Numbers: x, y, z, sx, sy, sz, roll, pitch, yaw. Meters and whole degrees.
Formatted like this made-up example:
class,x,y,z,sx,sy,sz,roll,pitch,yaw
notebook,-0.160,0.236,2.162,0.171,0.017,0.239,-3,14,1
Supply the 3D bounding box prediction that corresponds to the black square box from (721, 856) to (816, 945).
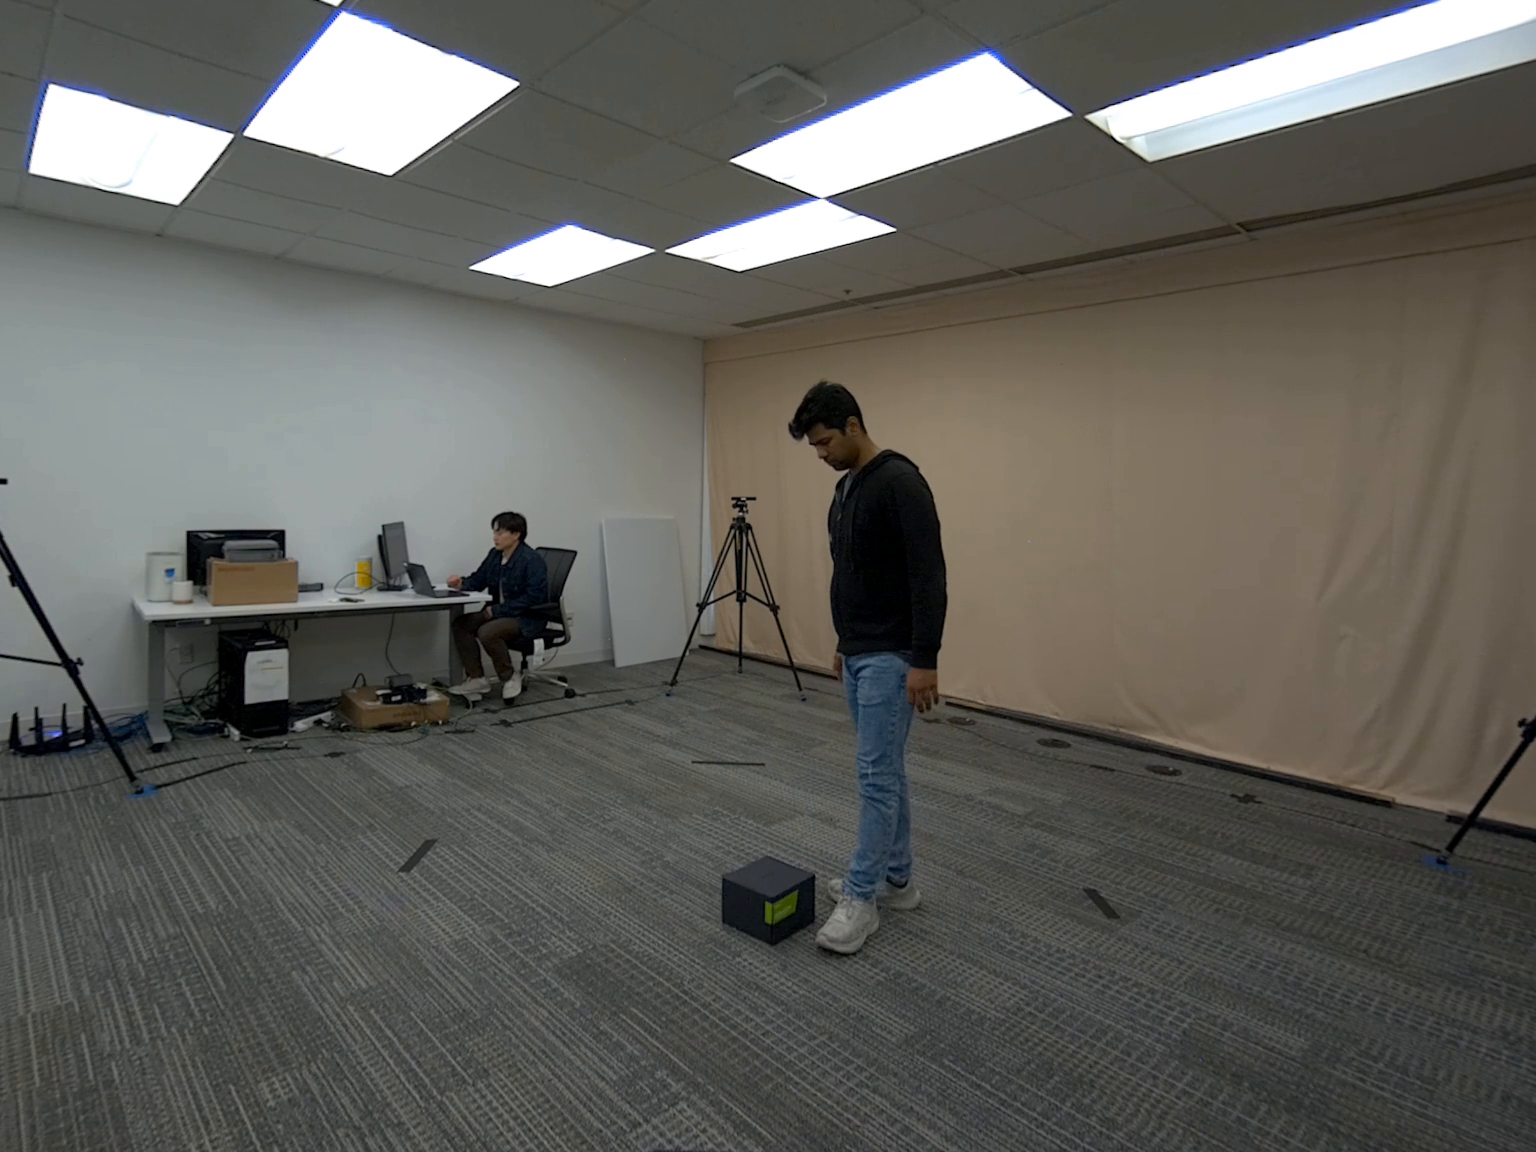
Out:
class,x,y,z,sx,sy,sz,roll,pitch,yaw
black square box,0.007,1.056,2.762,0.222,0.155,0.223,5,6,40
